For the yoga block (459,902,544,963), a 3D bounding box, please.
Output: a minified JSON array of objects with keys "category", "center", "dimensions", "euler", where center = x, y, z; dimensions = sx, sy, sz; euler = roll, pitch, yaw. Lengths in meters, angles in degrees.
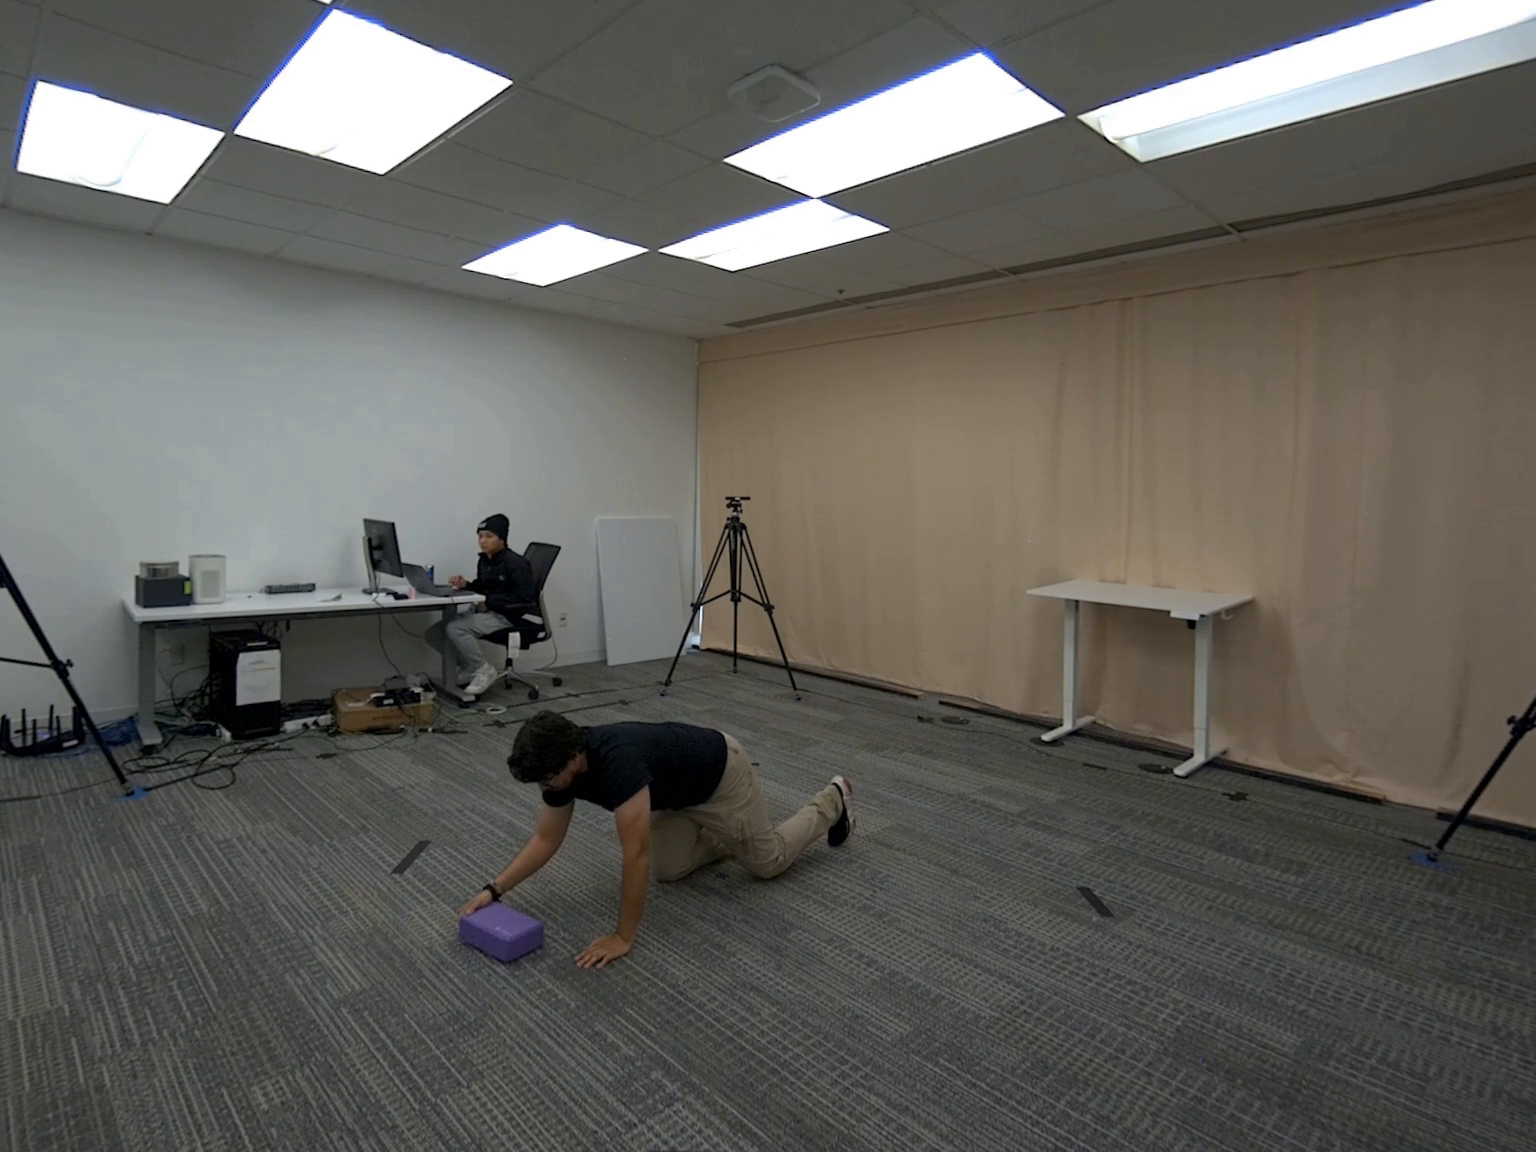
[{"category":"yoga block","center":[-0.821,1.092,2.597],"dimensions":[0.234,0.076,0.146],"euler":[5,5,31]}]
